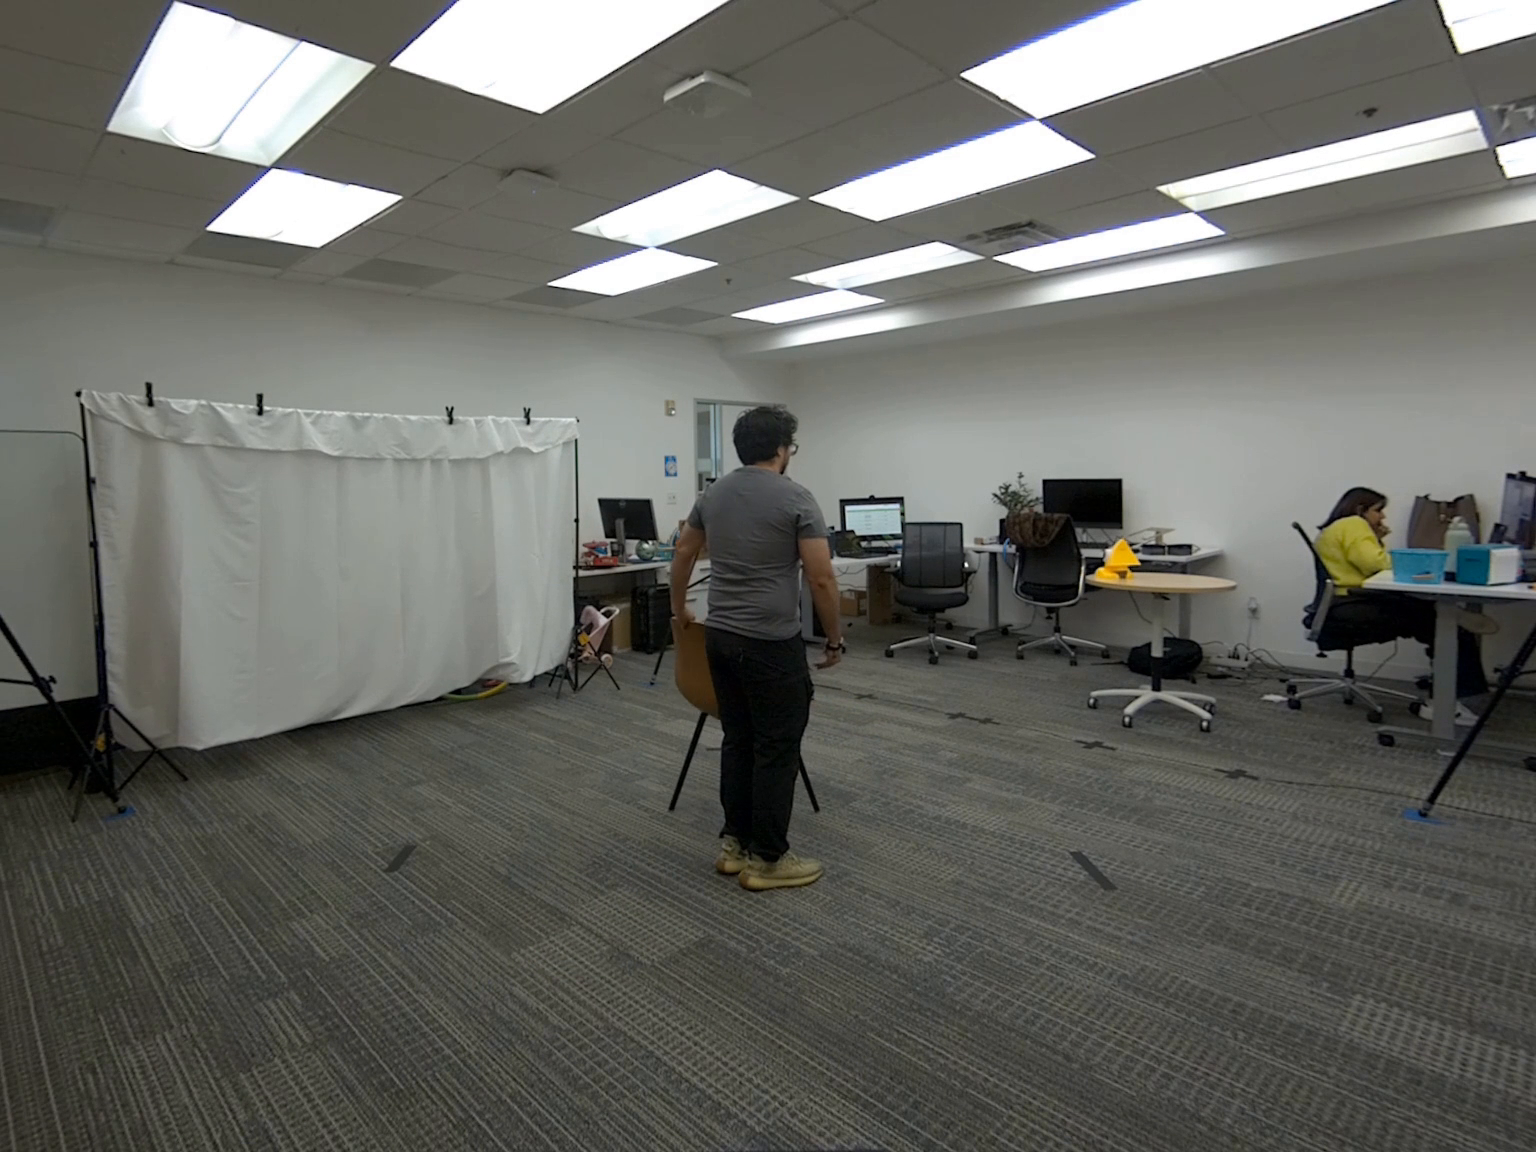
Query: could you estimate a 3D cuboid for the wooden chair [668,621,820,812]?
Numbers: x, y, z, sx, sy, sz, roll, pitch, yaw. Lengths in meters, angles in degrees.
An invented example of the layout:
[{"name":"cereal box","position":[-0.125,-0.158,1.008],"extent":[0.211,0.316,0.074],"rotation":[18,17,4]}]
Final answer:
[{"name":"wooden chair","position":[-0.107,0.564,3.571],"extent":[0.511,0.872,0.492],"rotation":[-10,8,-41]}]
